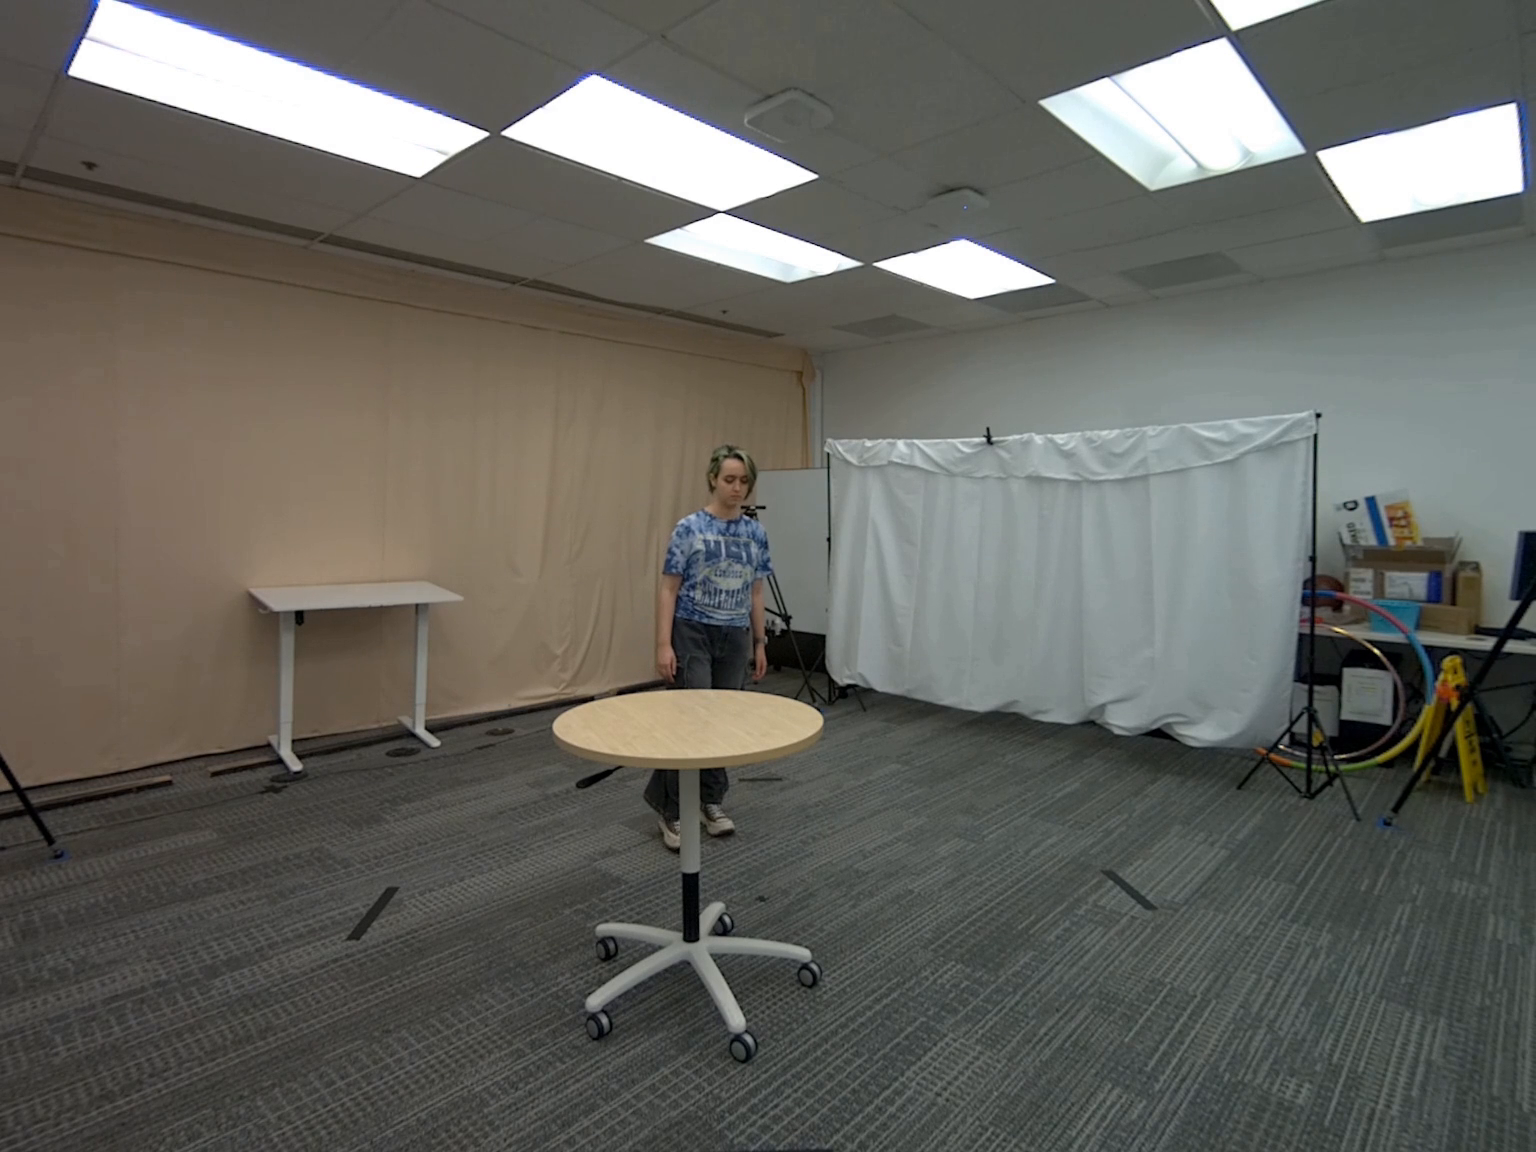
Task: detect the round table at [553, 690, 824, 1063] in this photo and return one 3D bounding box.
[{"bbox_3d":[-0.232,0.795,2.434,0.784,0.785,0.788,0,3,-2],"label":"round table"}]
